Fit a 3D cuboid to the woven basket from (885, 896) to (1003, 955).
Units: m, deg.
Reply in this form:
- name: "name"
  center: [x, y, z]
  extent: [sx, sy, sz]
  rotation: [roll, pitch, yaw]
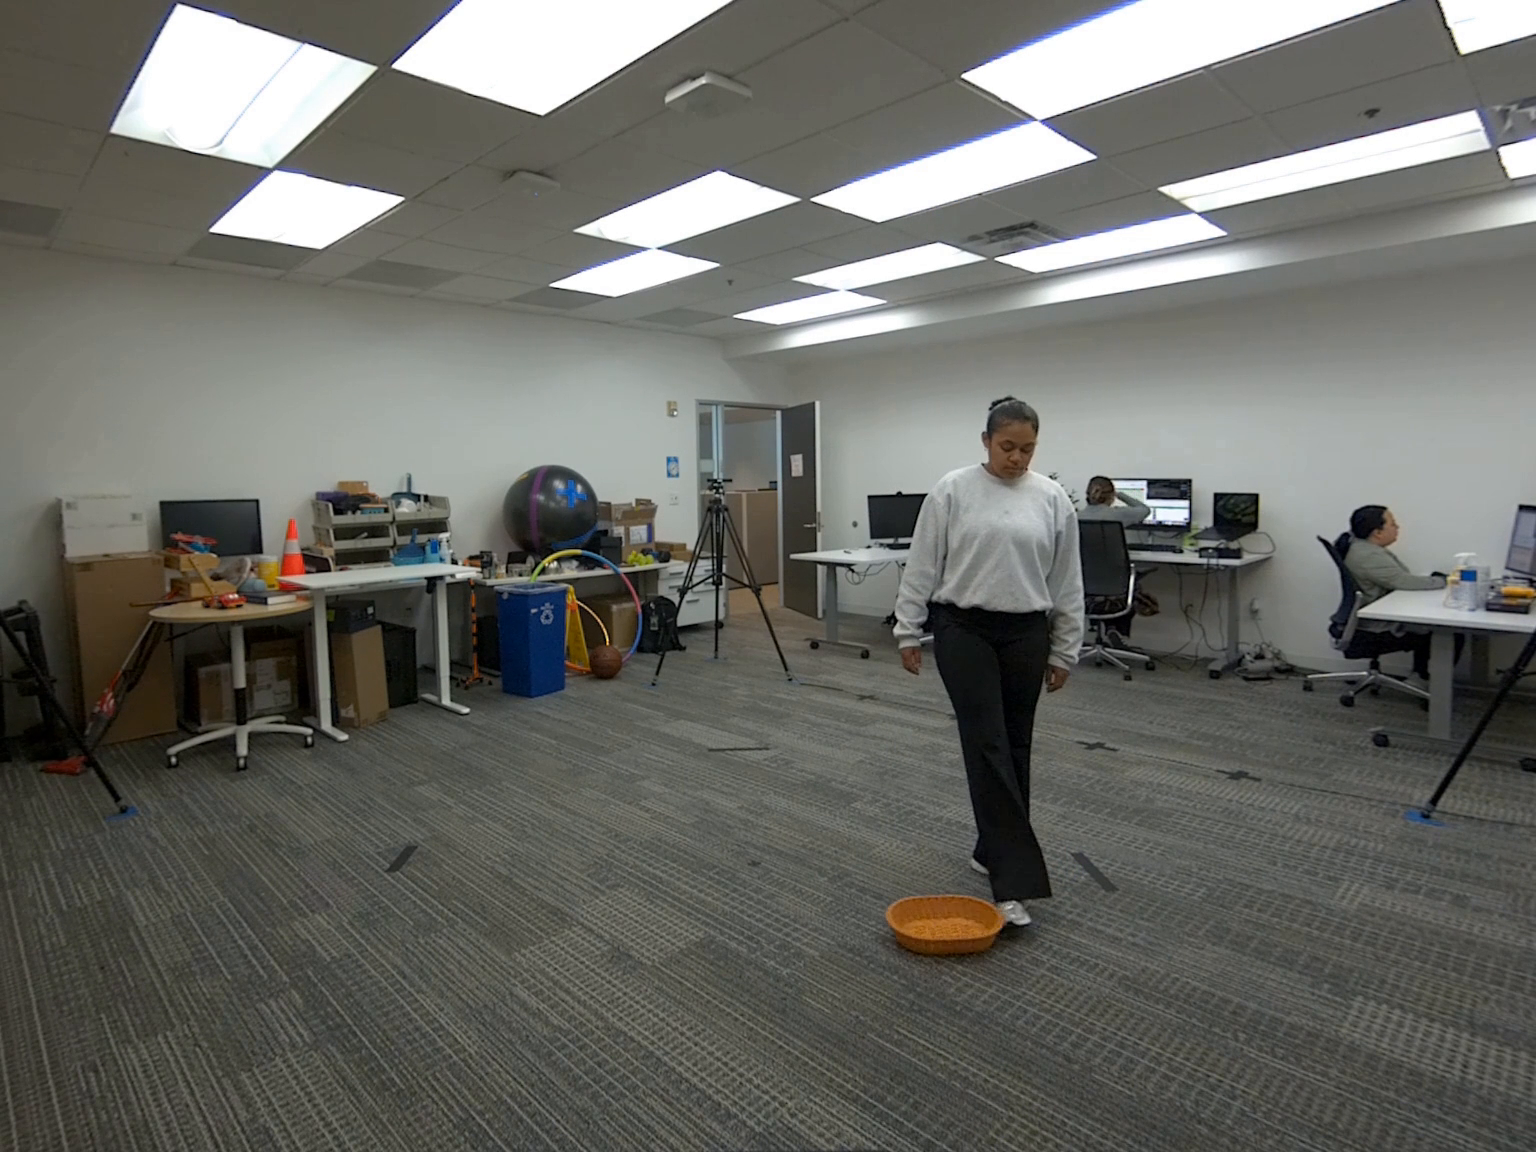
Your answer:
- name: "woven basket"
  center: [0.514, 1.055, 2.582]
  extent: [0.351, 0.073, 0.253]
  rotation: [-3, 6, 2]
